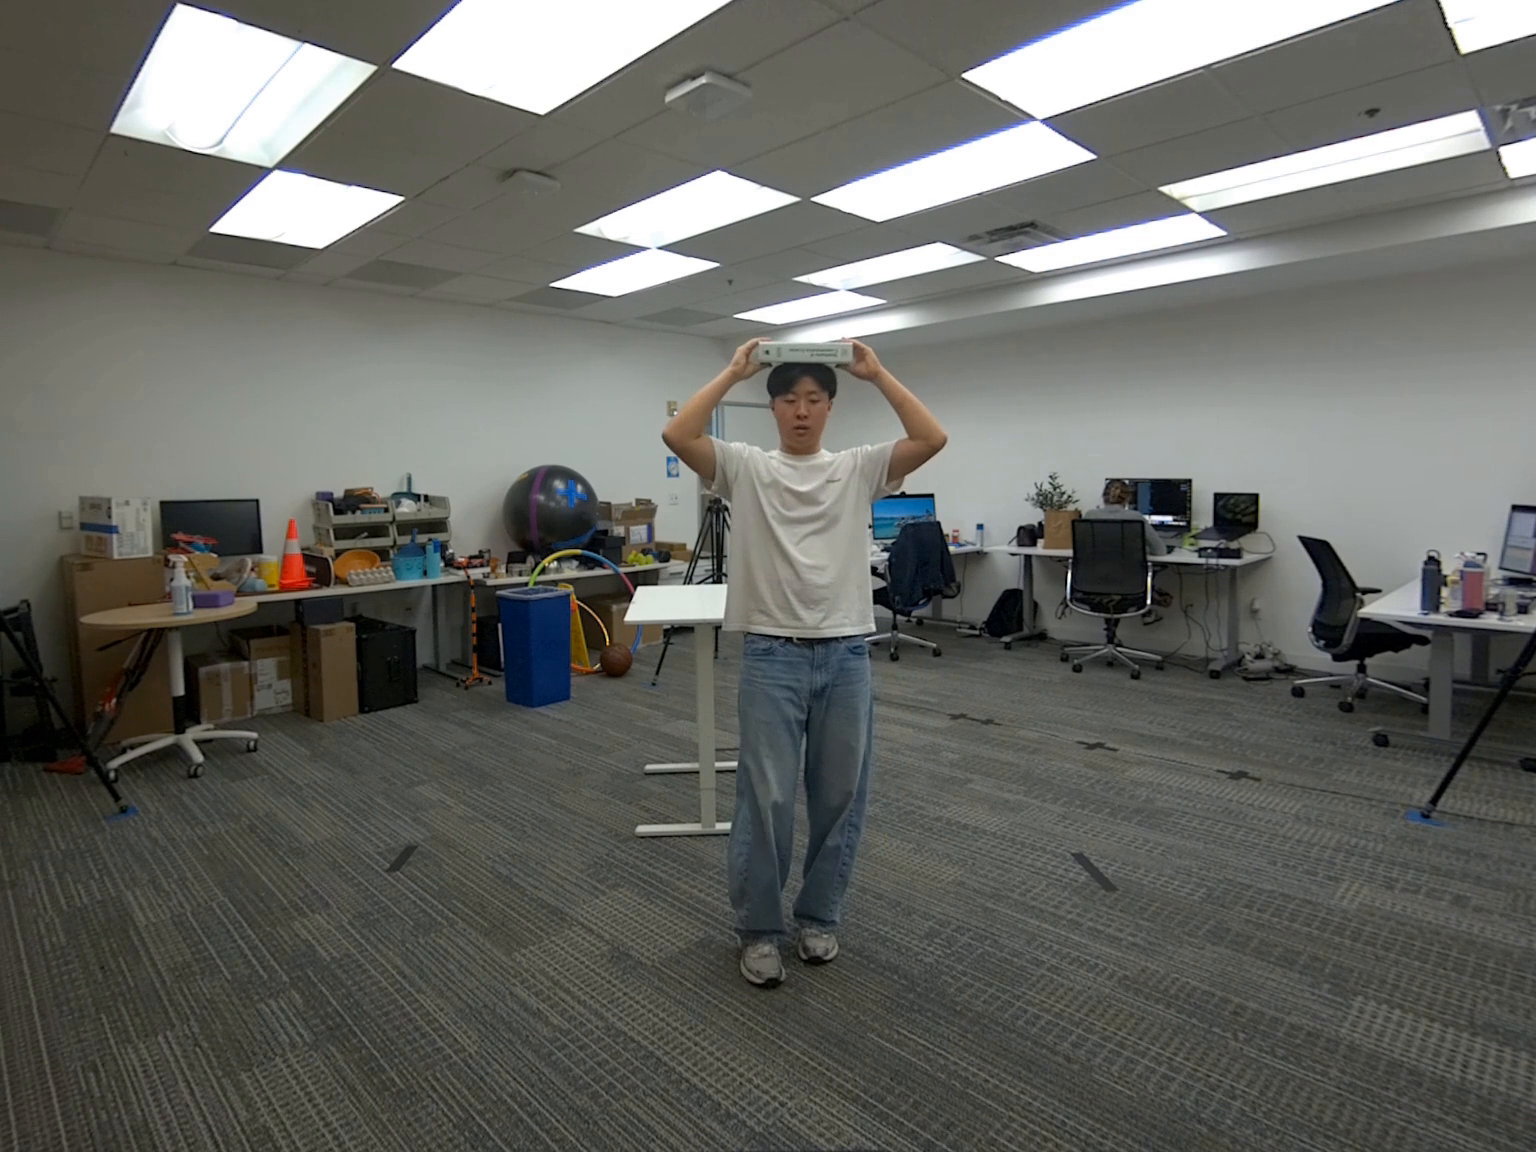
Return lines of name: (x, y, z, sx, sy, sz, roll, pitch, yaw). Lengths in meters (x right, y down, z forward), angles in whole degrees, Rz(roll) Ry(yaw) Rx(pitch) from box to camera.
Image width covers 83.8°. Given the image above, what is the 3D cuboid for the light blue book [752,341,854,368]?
light blue book: (0.113, -0.646, 2.471, 0.262, 0.058, 0.193, 2, 13, 3)
